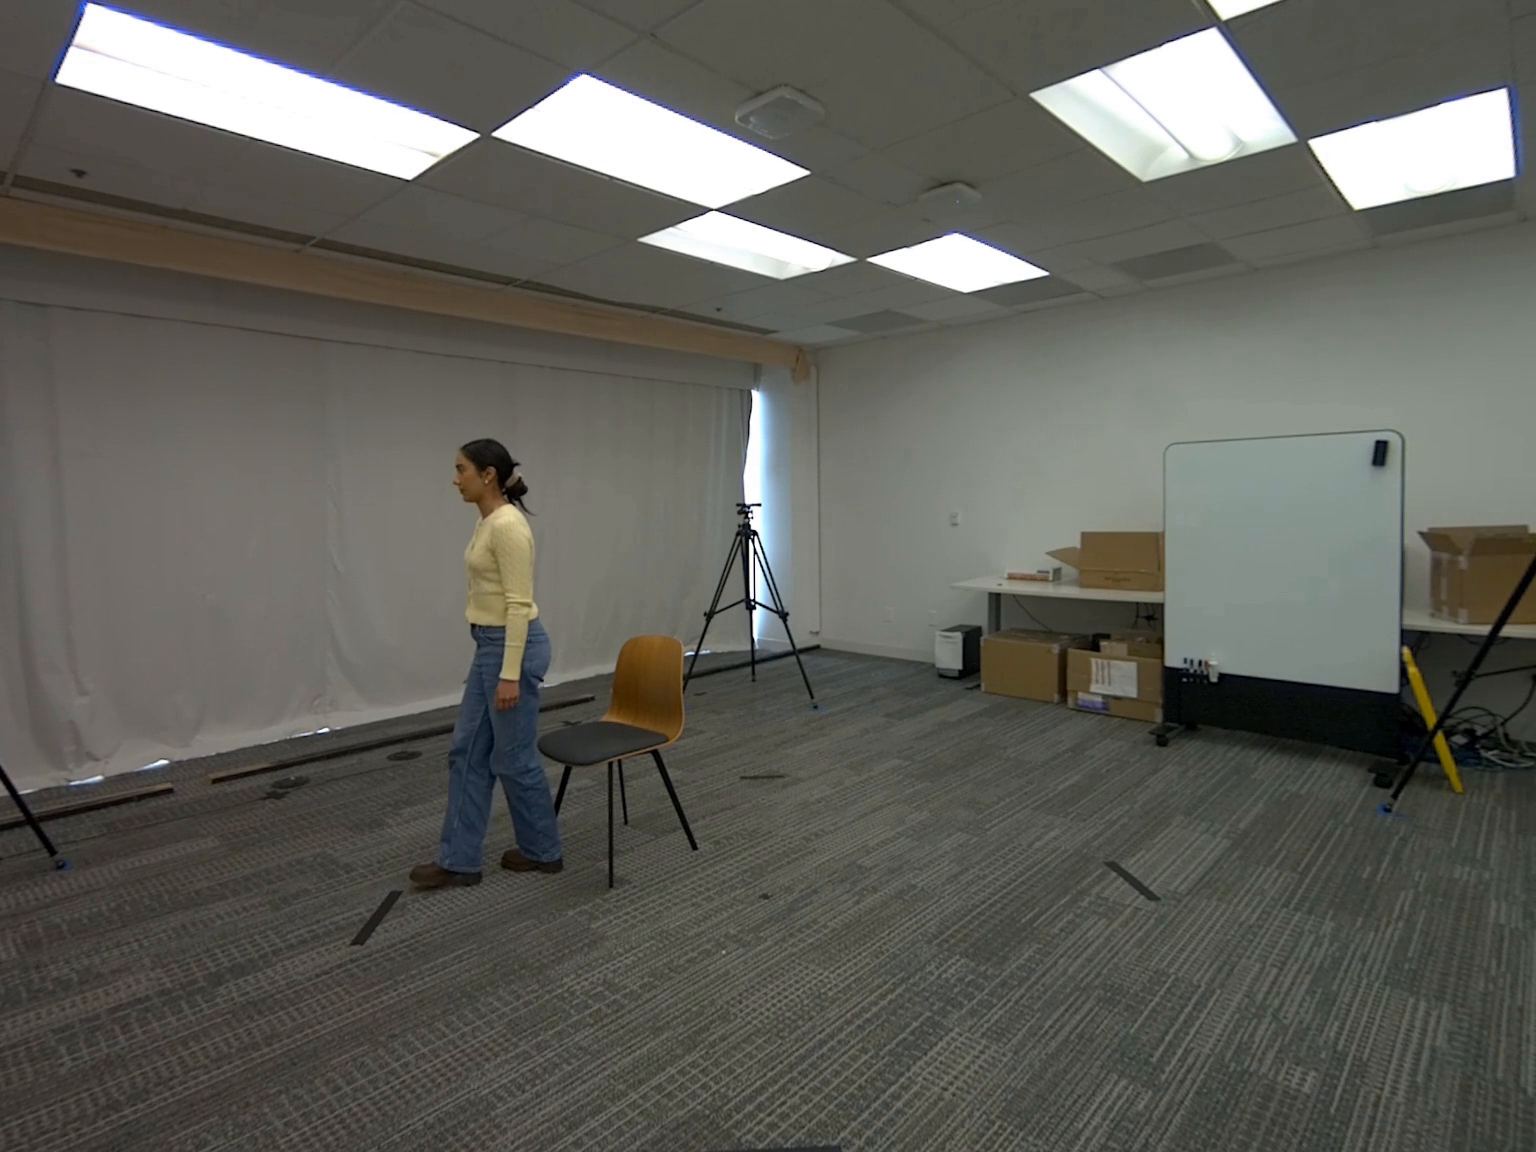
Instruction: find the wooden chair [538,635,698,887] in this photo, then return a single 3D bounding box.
[{"bbox_3d":[-0.610,0.691,3.351,0.494,0.877,0.506,2,1,42],"label":"wooden chair"}]
